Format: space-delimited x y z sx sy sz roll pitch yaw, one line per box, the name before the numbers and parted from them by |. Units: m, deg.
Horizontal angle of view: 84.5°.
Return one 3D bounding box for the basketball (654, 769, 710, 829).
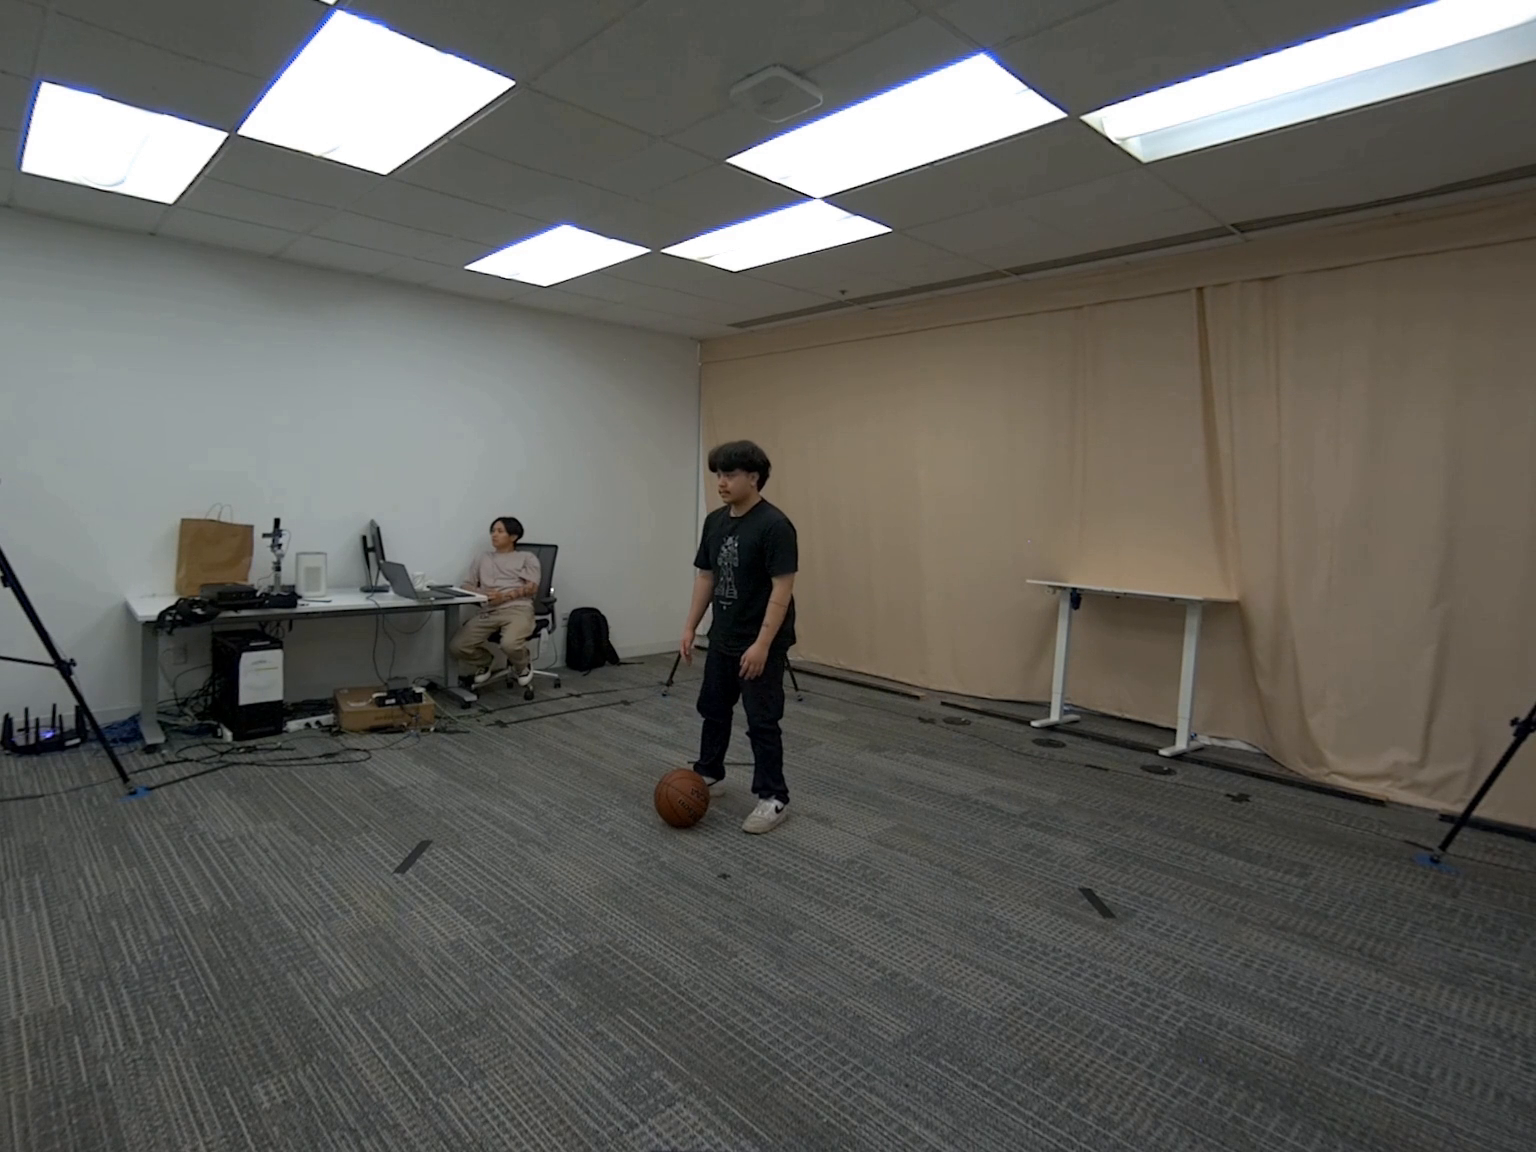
basketball | -0.374 0.939 3.582 0.236 0.235 0.237 1 4 -1
